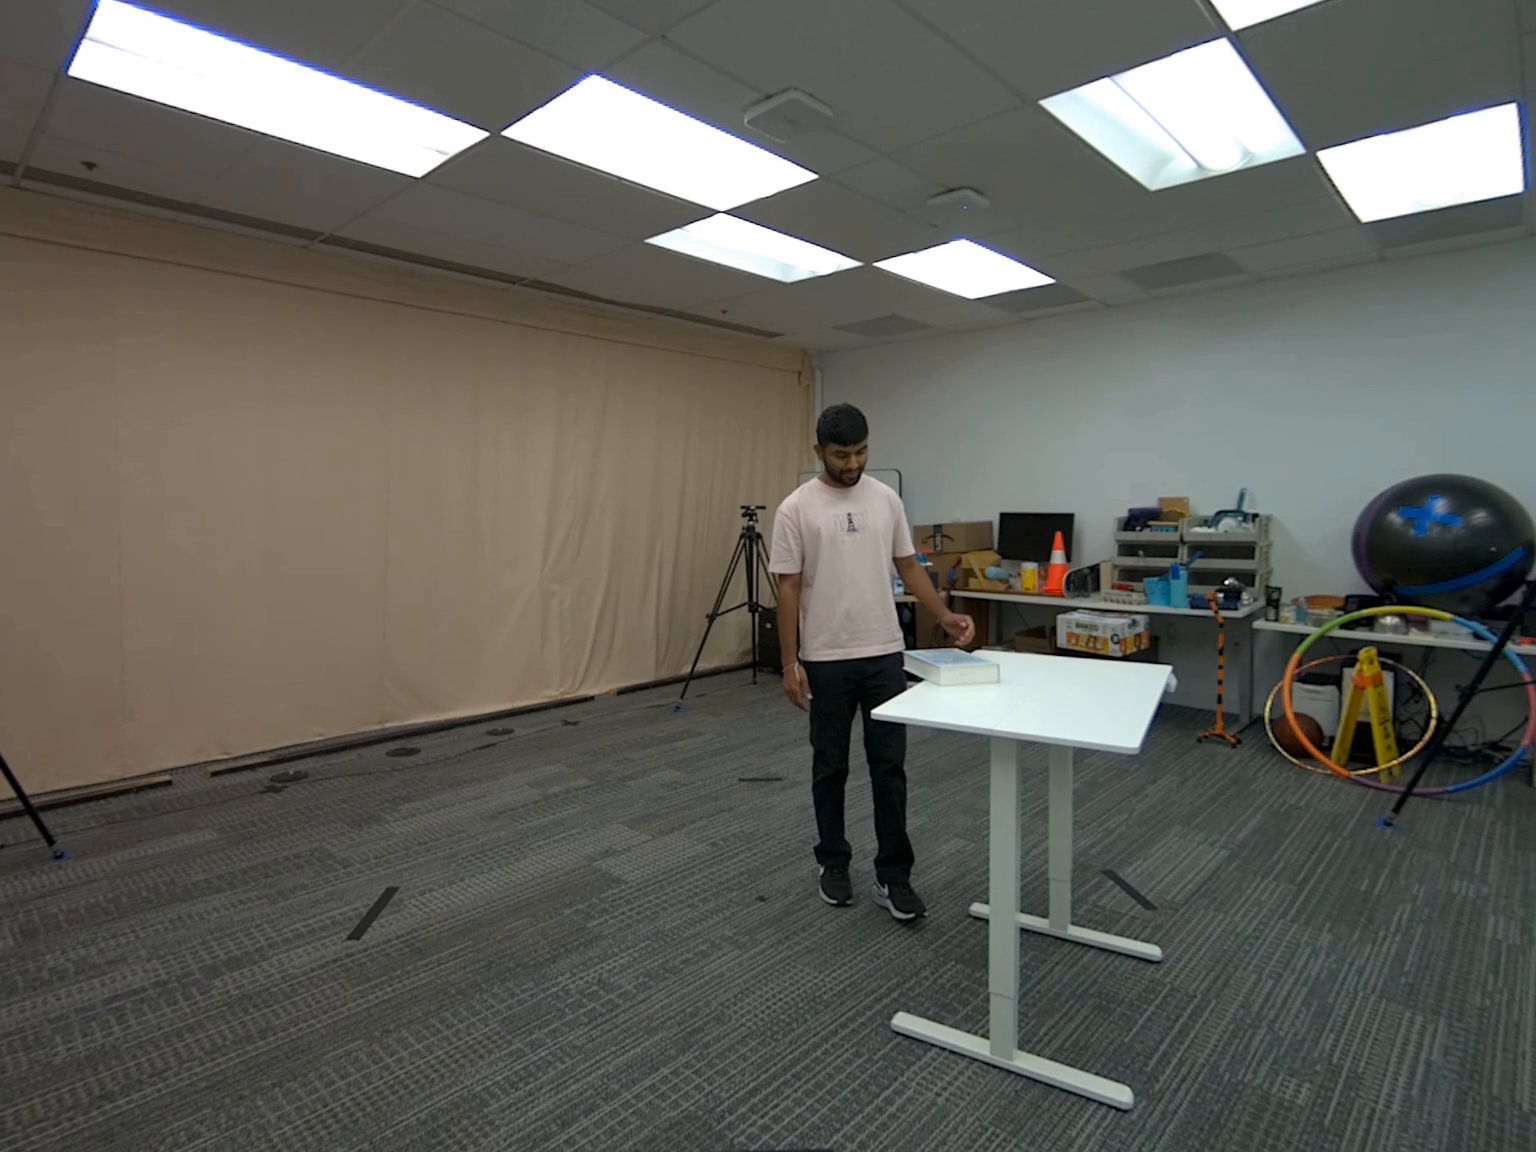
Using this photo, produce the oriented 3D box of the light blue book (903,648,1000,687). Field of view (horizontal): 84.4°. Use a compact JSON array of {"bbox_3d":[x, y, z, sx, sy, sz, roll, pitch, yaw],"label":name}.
[{"bbox_3d":[0.566,0.272,2.516,0.189,0.059,0.265,-1,5,-14],"label":"light blue book"}]
